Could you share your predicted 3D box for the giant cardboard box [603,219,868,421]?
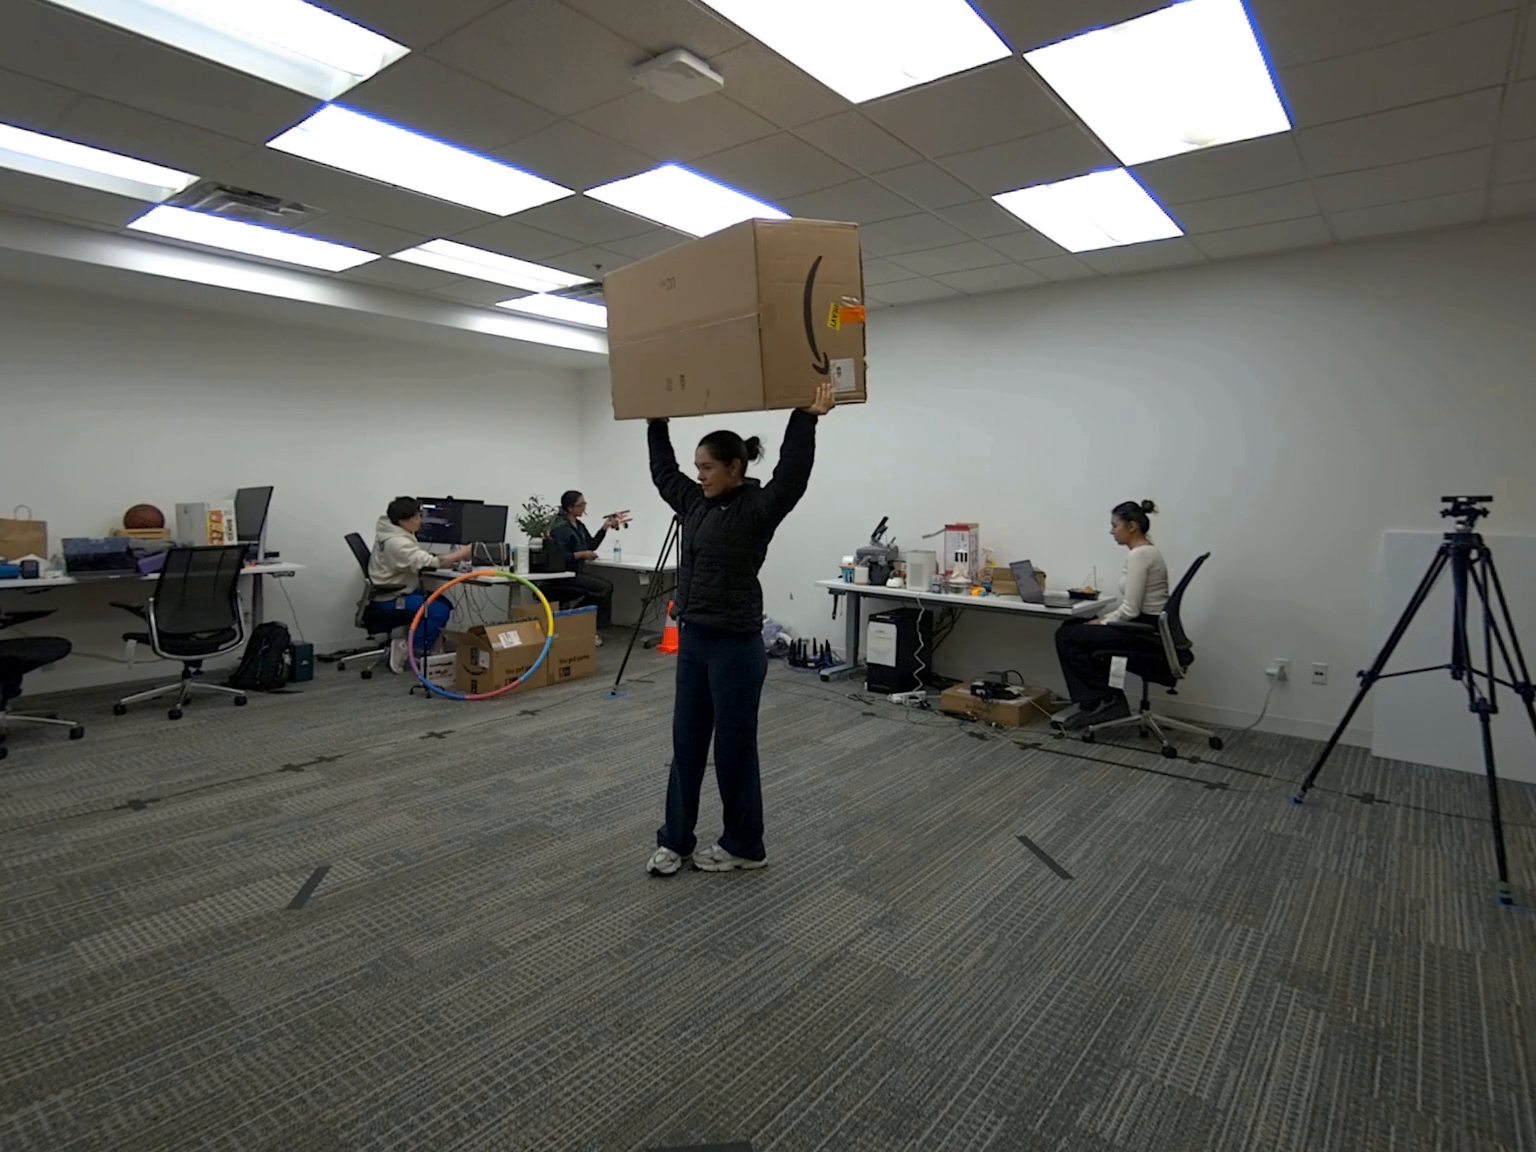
[{"bbox_3d":[-0.147,-0.878,3.089,0.435,0.579,1.062,-8,11,-35],"label":"giant cardboard box"}]
